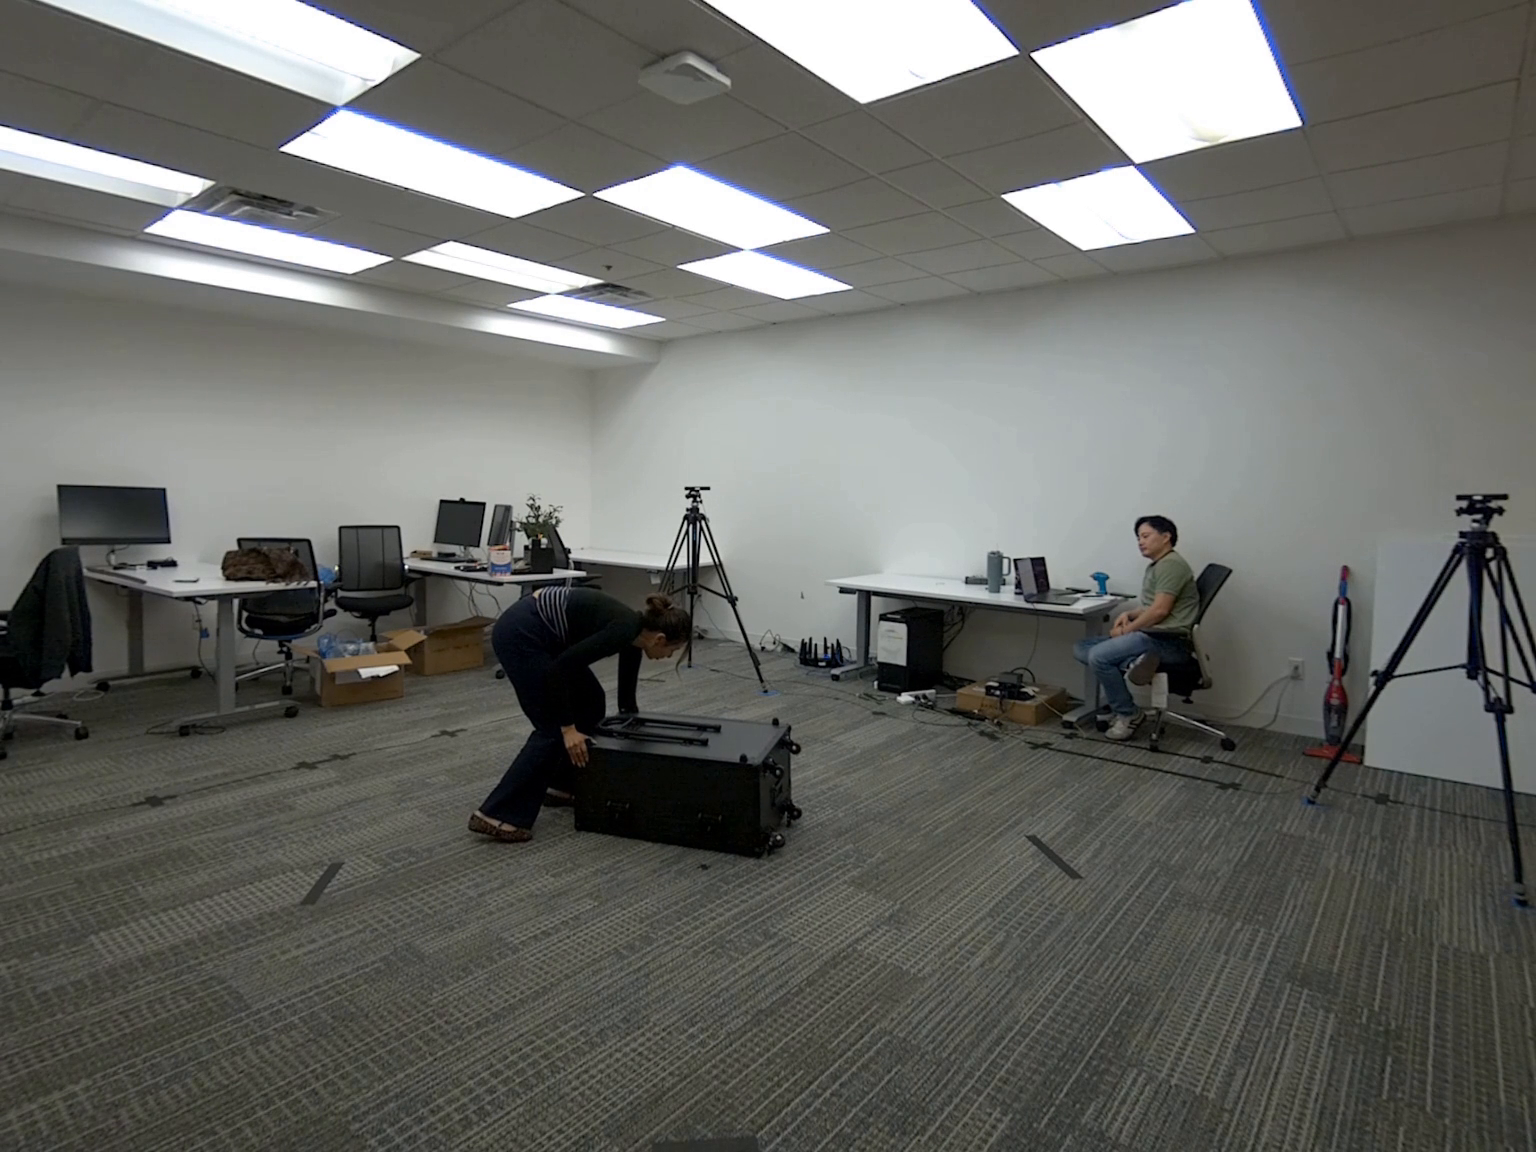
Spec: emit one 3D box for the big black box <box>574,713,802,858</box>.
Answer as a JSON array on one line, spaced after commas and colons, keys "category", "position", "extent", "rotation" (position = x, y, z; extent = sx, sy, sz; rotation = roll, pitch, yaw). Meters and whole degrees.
[{"category": "big black box", "position": [-0.307, 0.814, 3.500], "extent": [0.879, 0.394, 0.515], "rotation": [3, 8, 18]}]
